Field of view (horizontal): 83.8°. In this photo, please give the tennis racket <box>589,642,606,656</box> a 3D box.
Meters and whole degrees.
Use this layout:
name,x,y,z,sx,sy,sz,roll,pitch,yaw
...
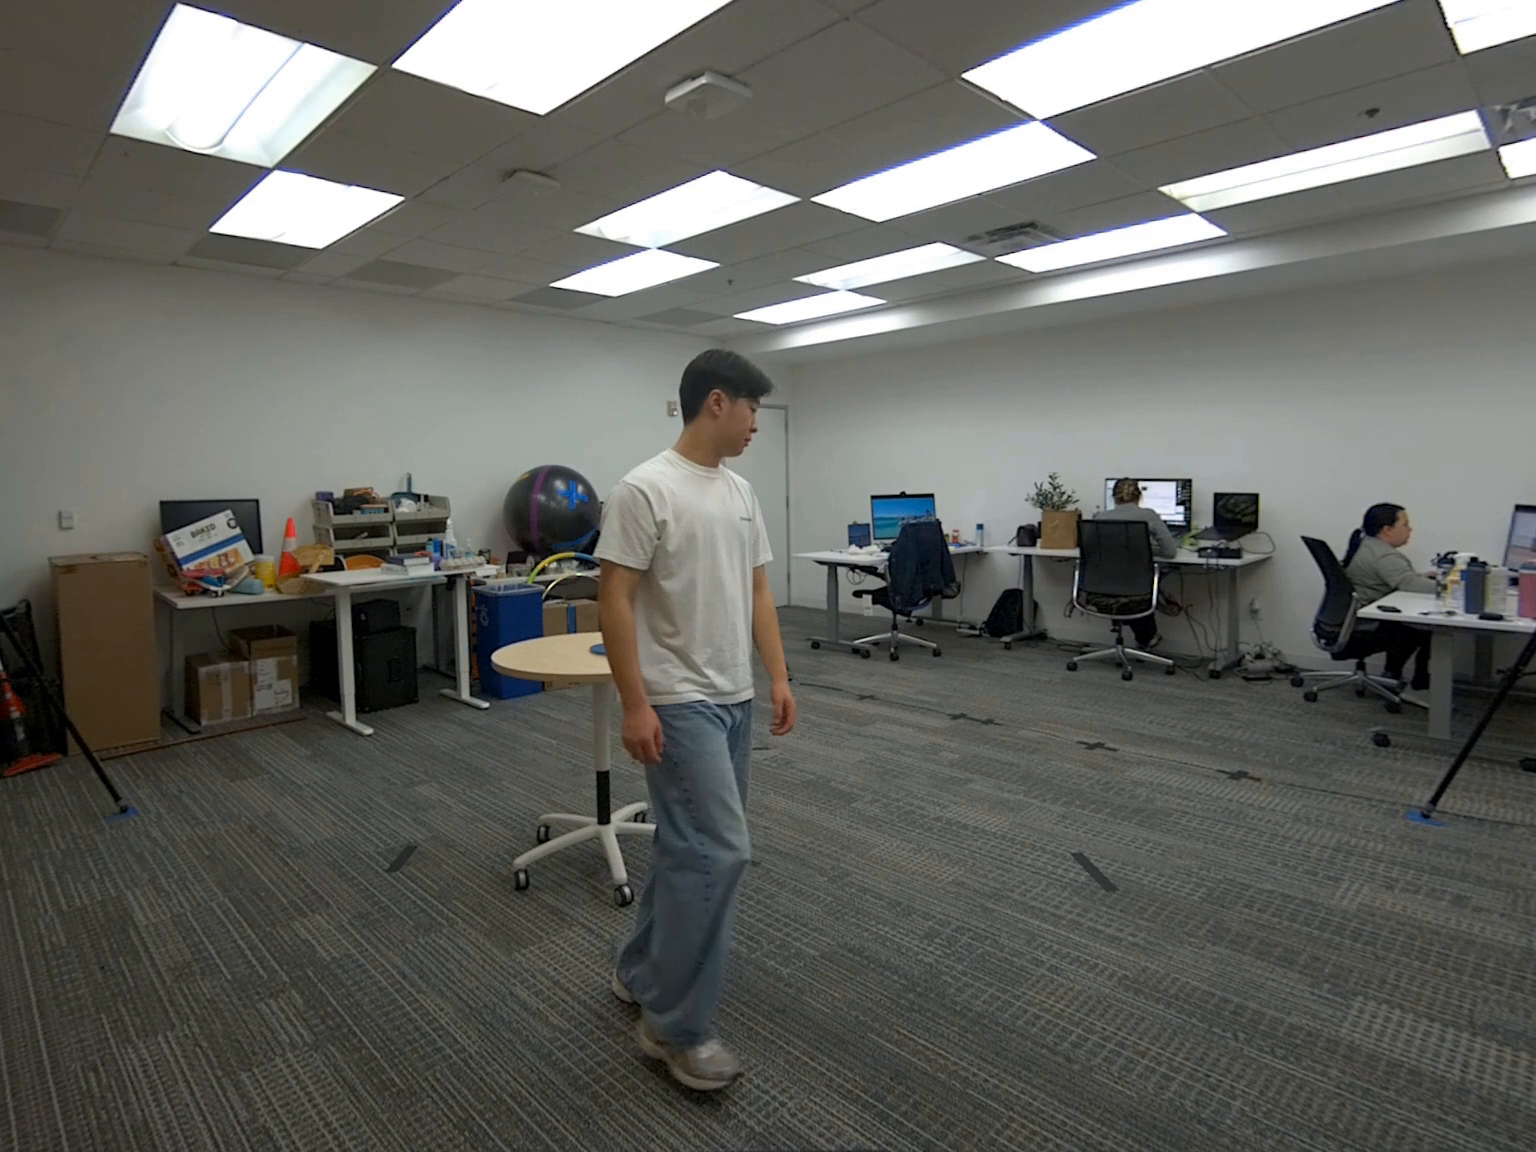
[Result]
name,x,y,z,sx,sy,sz,roll,pitch,yaw
tennis racket,-0.463,0.268,3.043,0.446,0.031,0.208,2,7,44
